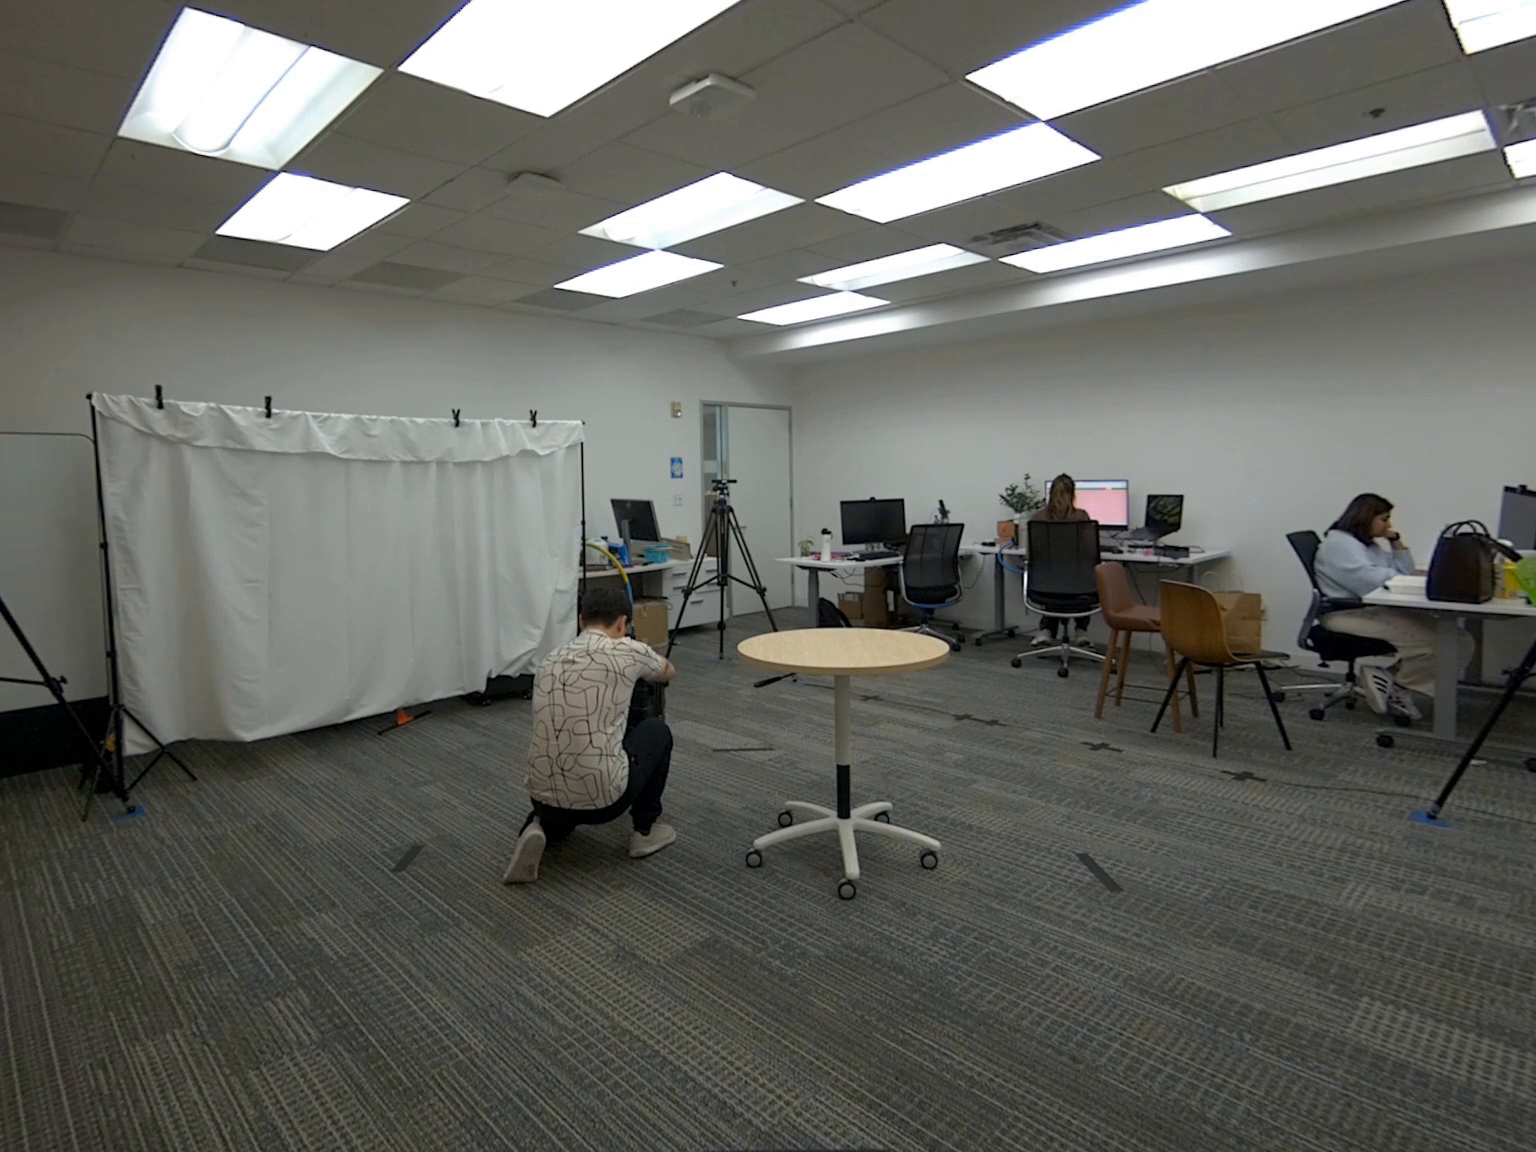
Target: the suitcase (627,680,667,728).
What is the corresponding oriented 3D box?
[{"bbox_3d":[-0.629,0.590,3.628,0.382,0.548,0.244,3,3,18],"label":"suitcase"}]
